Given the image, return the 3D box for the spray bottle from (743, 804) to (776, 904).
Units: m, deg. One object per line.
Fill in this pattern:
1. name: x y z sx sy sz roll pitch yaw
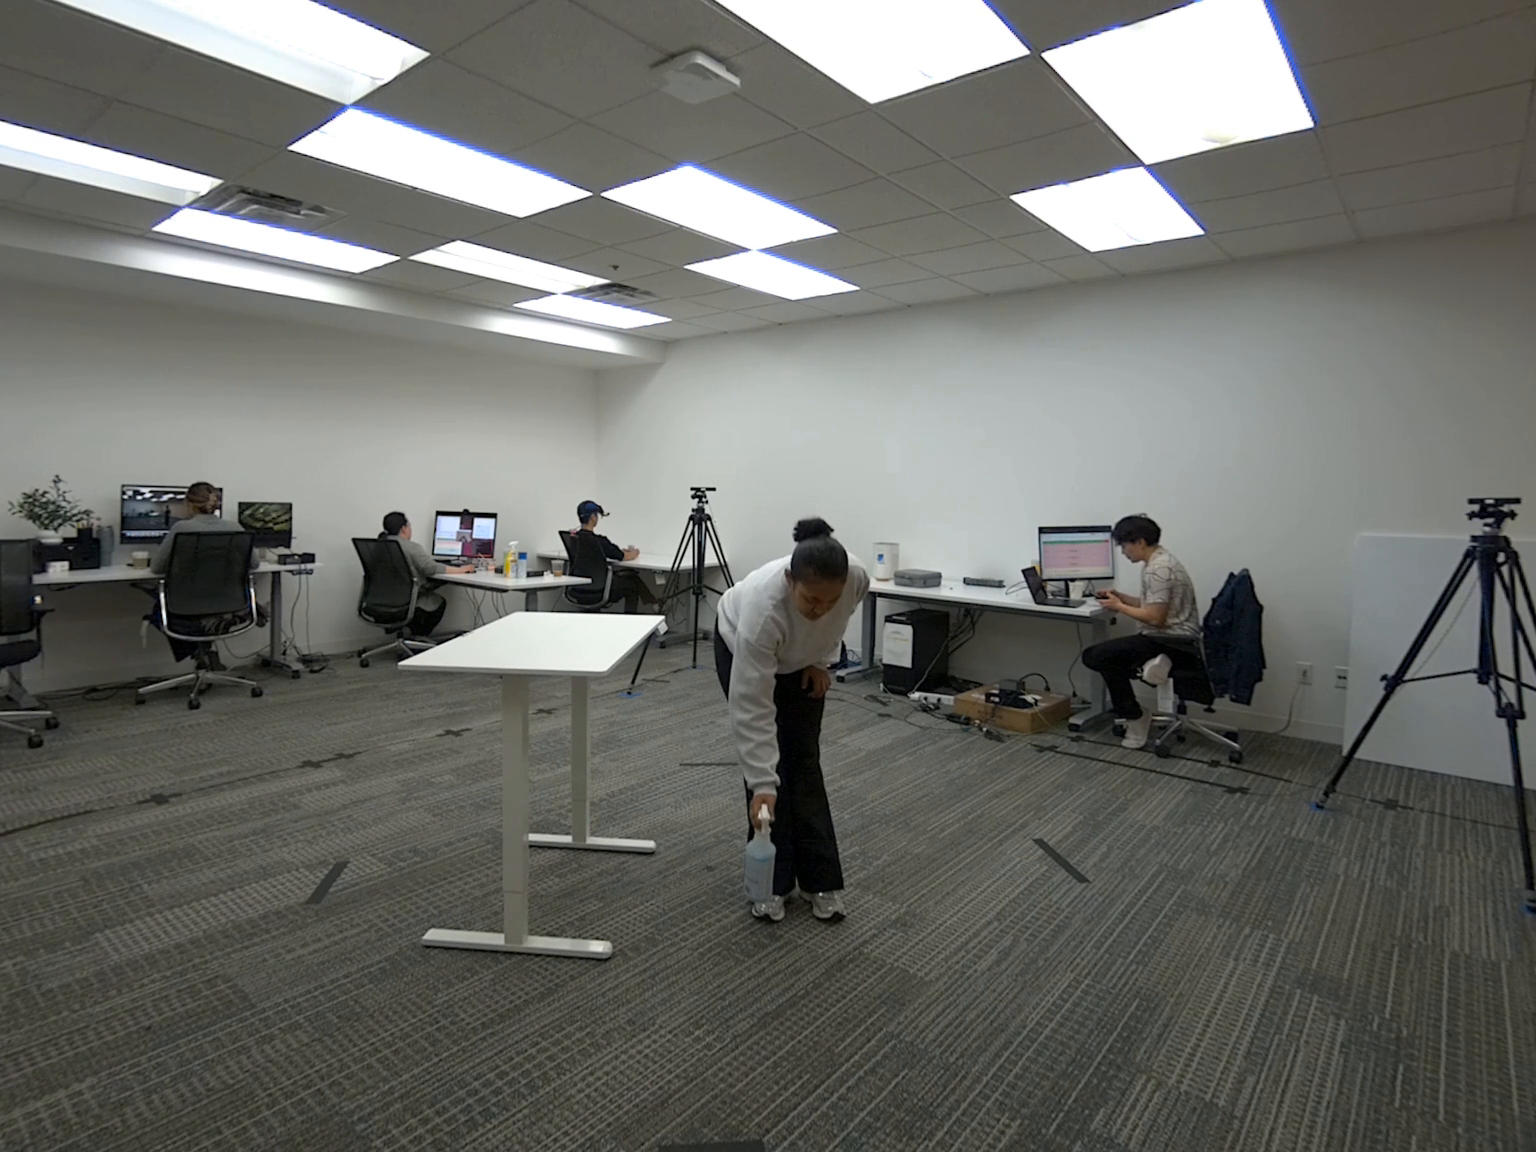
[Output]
1. spray bottle: -0.027 0.804 2.502 0.089 0.293 0.089 10 16 20
